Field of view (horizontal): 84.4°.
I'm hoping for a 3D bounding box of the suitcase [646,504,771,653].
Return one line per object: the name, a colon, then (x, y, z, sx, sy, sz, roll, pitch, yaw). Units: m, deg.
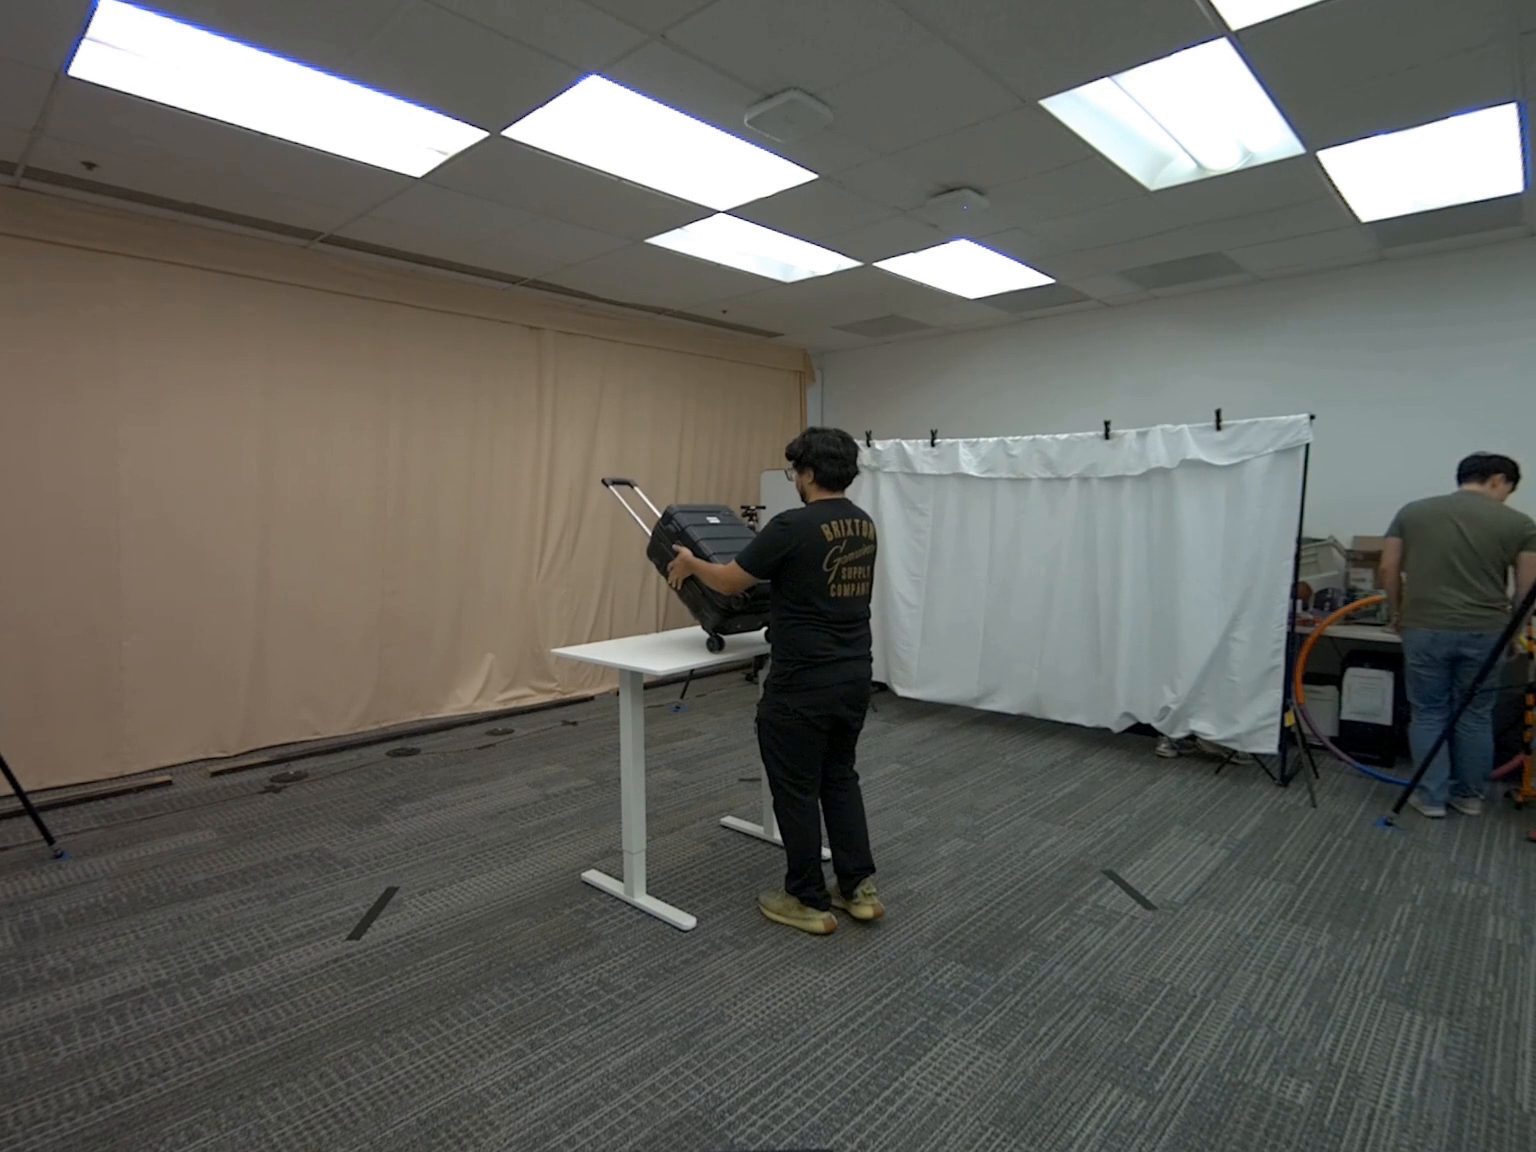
suitcase: (-0.289, -0.163, 3.209, 0.372, 0.257, 1.010, -3, 44, -44)
